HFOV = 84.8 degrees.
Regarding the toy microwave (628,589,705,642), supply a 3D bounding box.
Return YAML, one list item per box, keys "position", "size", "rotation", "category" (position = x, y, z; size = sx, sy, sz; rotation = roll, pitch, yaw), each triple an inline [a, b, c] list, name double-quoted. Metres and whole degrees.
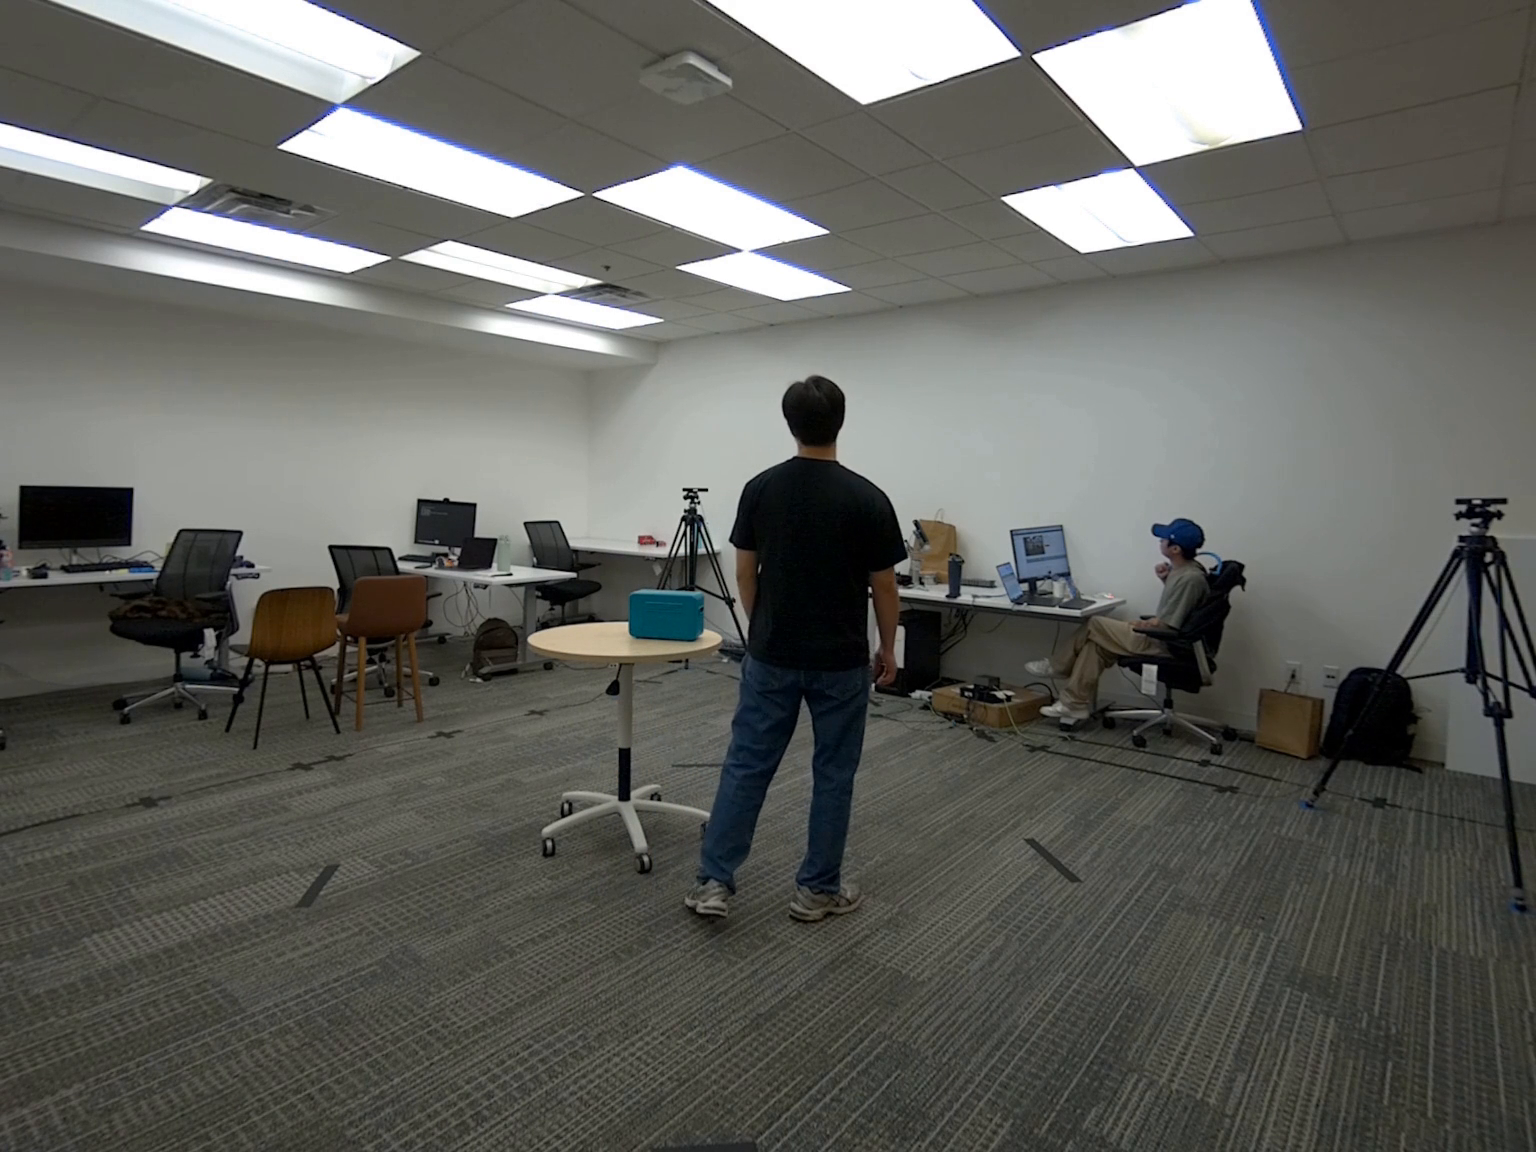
- position: [-0.410, 0.150, 3.383]
  size: [0.290, 0.184, 0.151]
  rotation: [2, 3, 12]
  category: "toy microwave"
